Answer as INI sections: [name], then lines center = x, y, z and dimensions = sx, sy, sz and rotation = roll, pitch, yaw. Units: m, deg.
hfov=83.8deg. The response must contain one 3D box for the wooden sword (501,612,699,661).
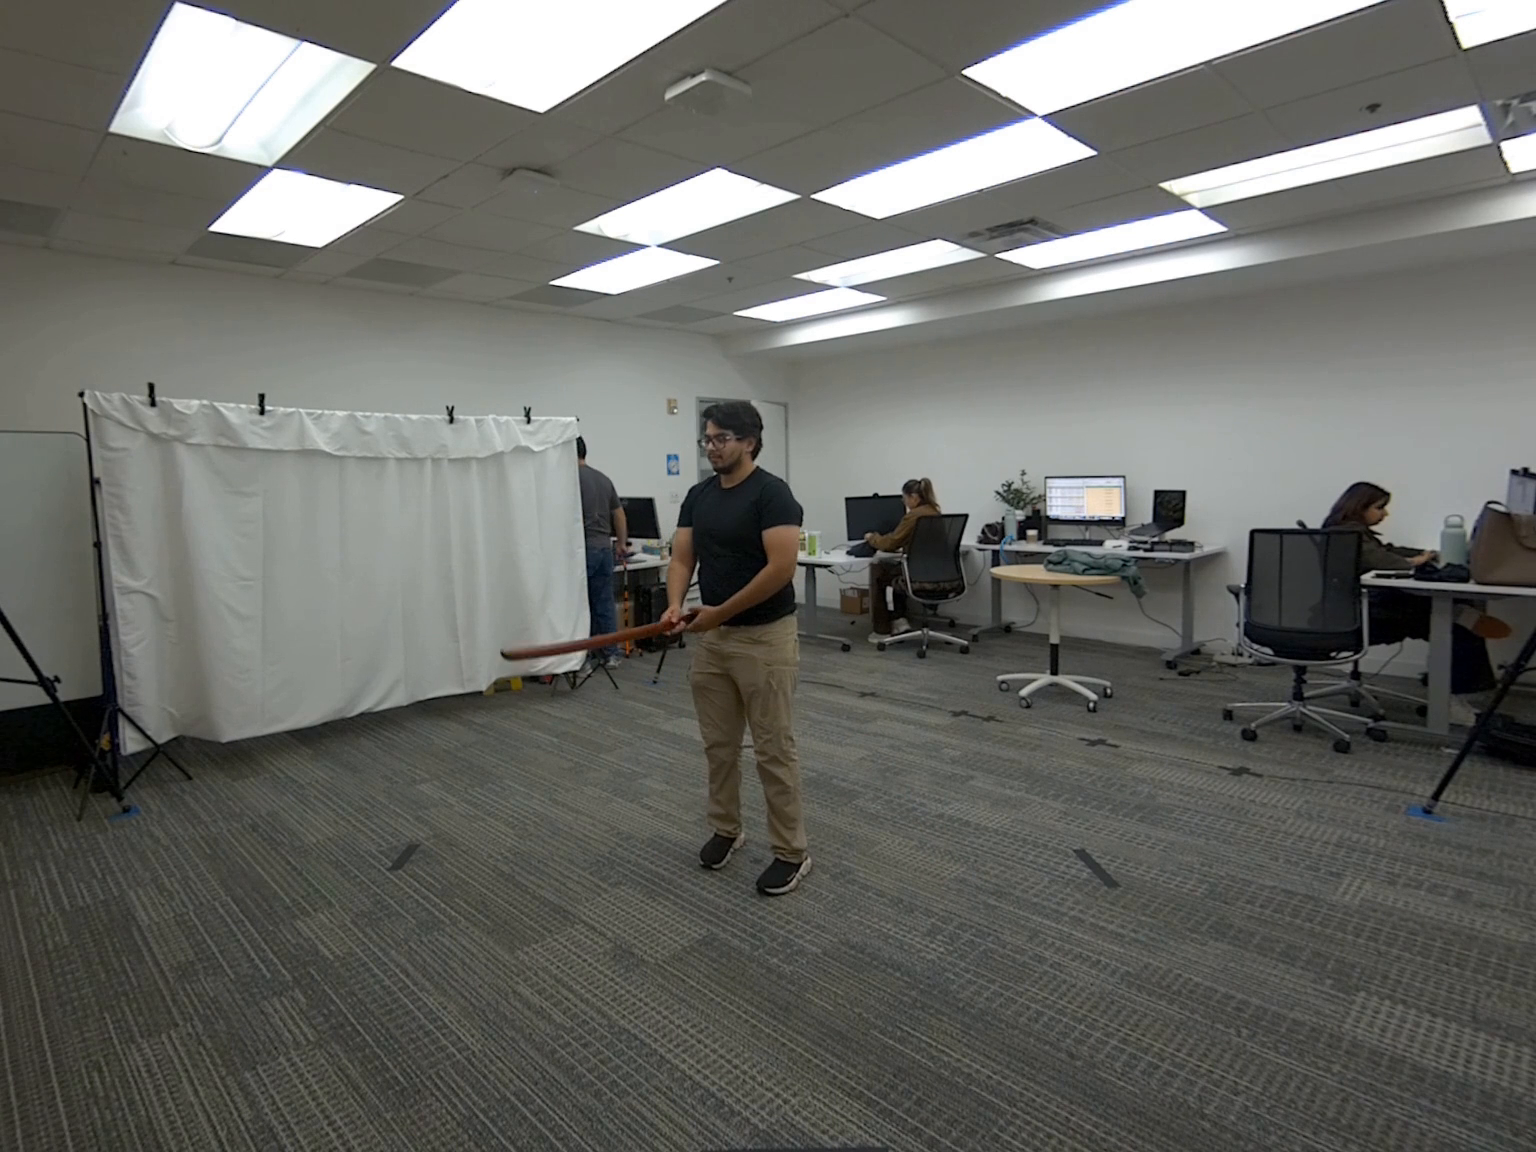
[wooden sword]
center = -0.457, 0.192, 2.472
dimensions = 0.024, 0.052, 1.004
rotation = -33, -10, 18
